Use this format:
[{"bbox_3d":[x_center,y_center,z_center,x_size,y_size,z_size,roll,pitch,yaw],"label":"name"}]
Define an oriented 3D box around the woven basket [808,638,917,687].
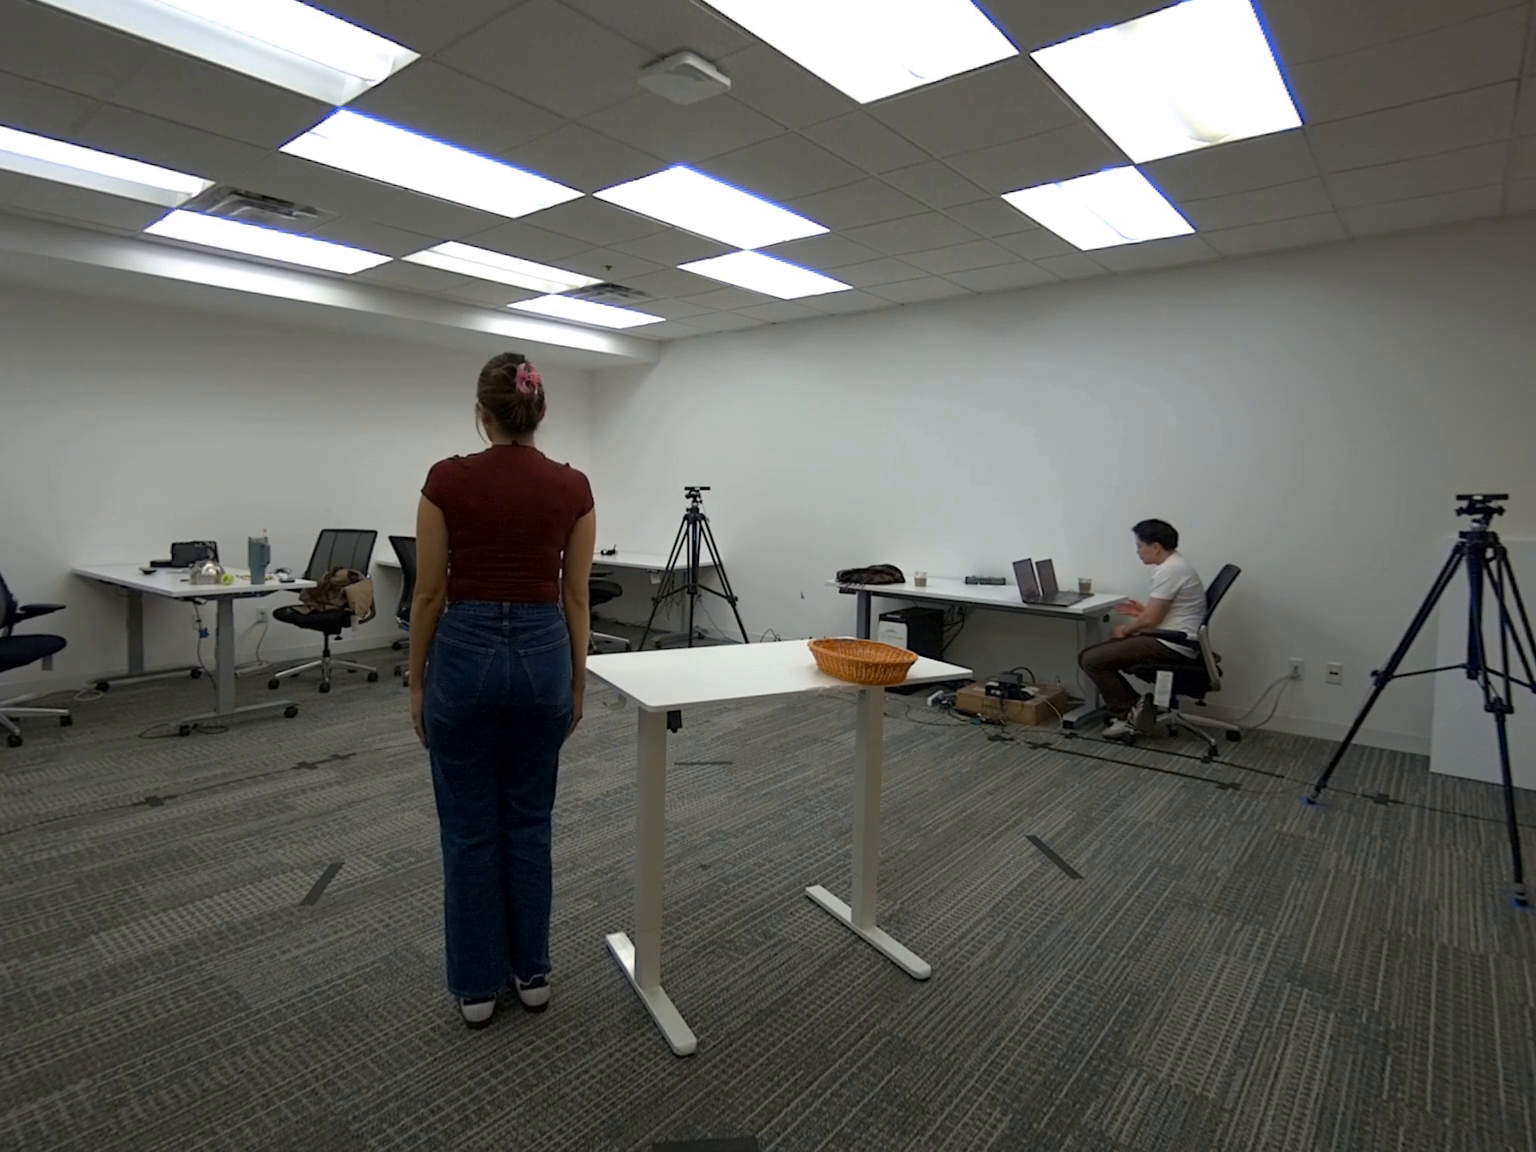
[{"bbox_3d":[0.271,0.241,2.351,0.246,0.073,0.360,-1,6,-25],"label":"woven basket"}]
